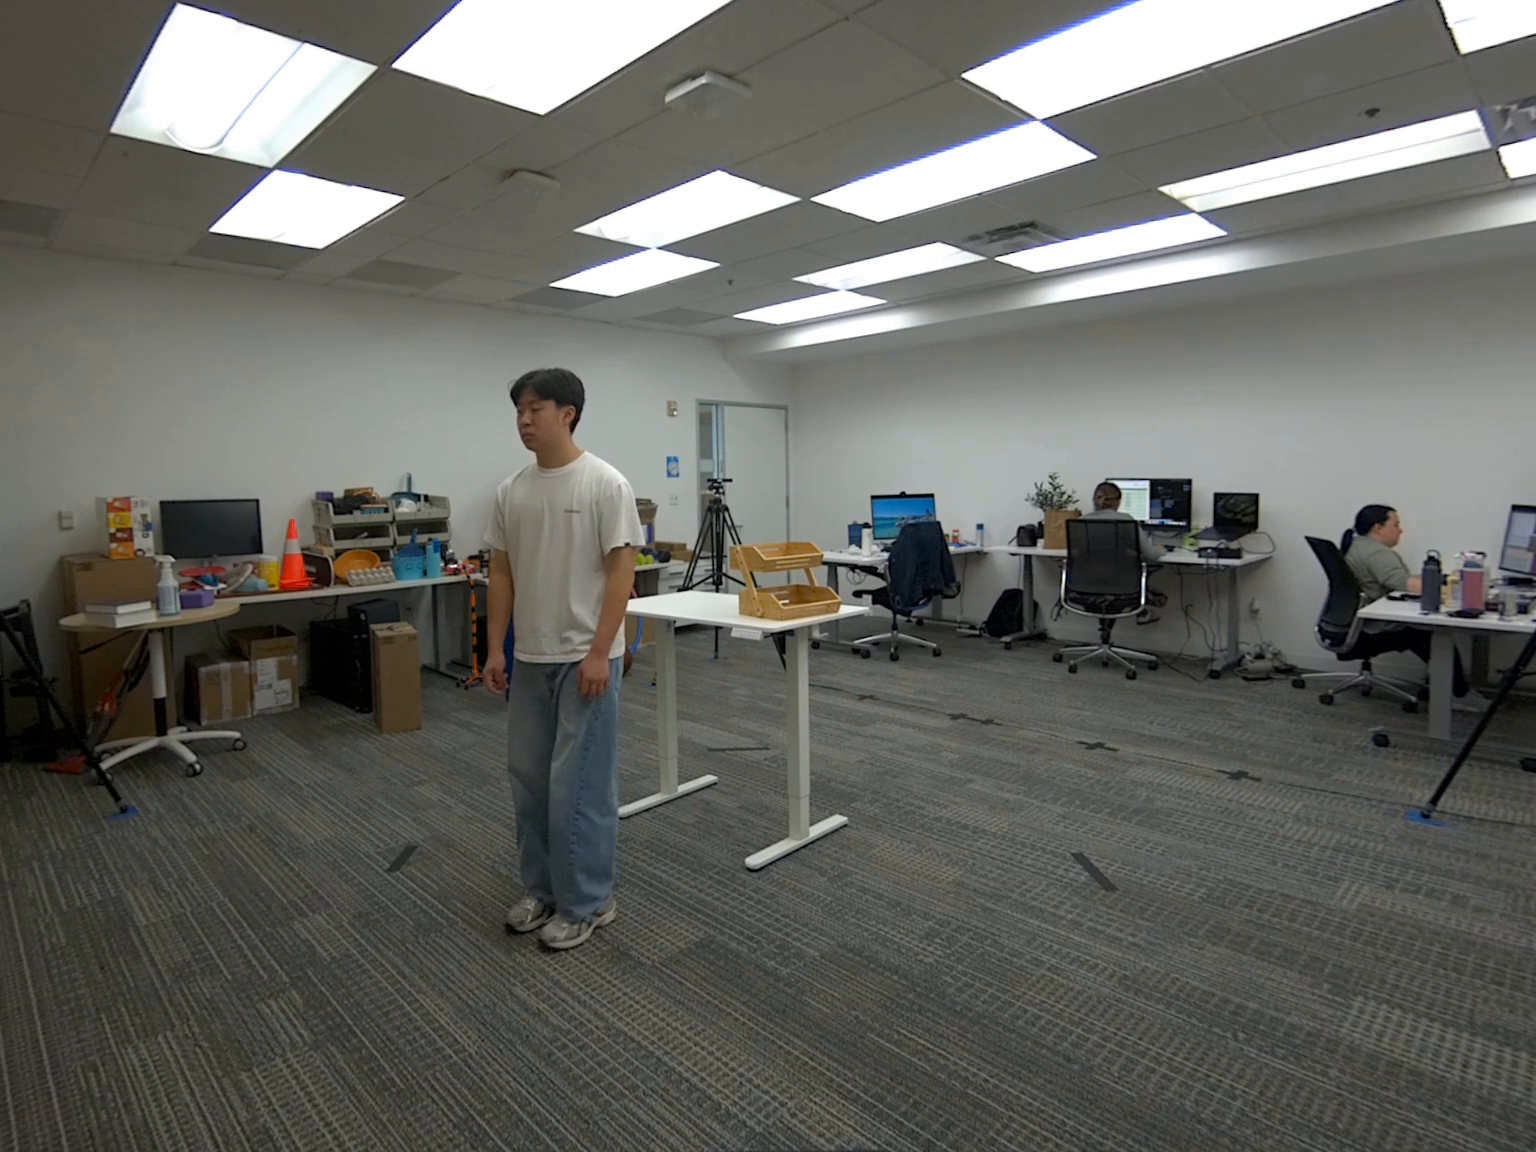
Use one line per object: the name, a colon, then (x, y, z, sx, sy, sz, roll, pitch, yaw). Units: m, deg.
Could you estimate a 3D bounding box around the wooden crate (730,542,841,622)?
wooden crate: (0.067, 0.009, 3.242, 0.316, 0.272, 0.311, -5, 5, -39)
